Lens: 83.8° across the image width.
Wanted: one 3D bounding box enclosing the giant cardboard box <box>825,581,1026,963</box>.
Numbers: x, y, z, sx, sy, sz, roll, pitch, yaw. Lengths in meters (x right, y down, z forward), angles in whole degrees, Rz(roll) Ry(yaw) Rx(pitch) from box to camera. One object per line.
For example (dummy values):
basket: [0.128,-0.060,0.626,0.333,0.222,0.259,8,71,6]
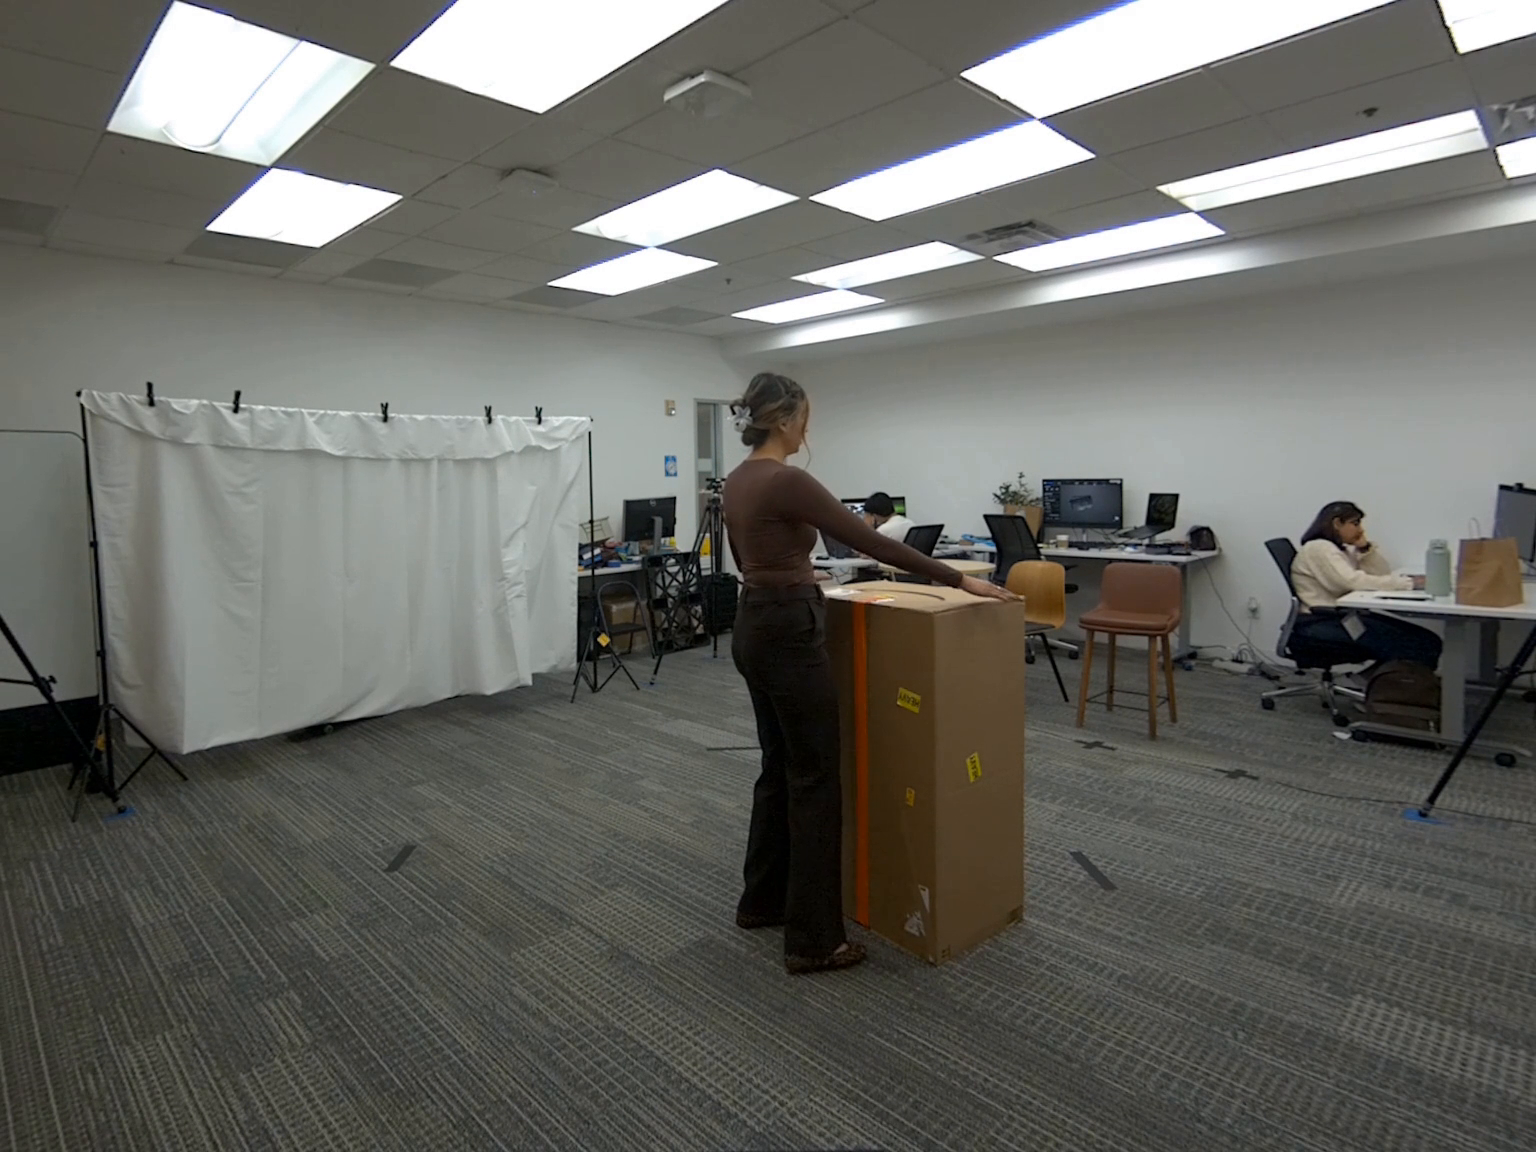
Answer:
giant cardboard box: [0.454,0.565,2.749,0.435,1.022,0.601,-5,6,-36]
